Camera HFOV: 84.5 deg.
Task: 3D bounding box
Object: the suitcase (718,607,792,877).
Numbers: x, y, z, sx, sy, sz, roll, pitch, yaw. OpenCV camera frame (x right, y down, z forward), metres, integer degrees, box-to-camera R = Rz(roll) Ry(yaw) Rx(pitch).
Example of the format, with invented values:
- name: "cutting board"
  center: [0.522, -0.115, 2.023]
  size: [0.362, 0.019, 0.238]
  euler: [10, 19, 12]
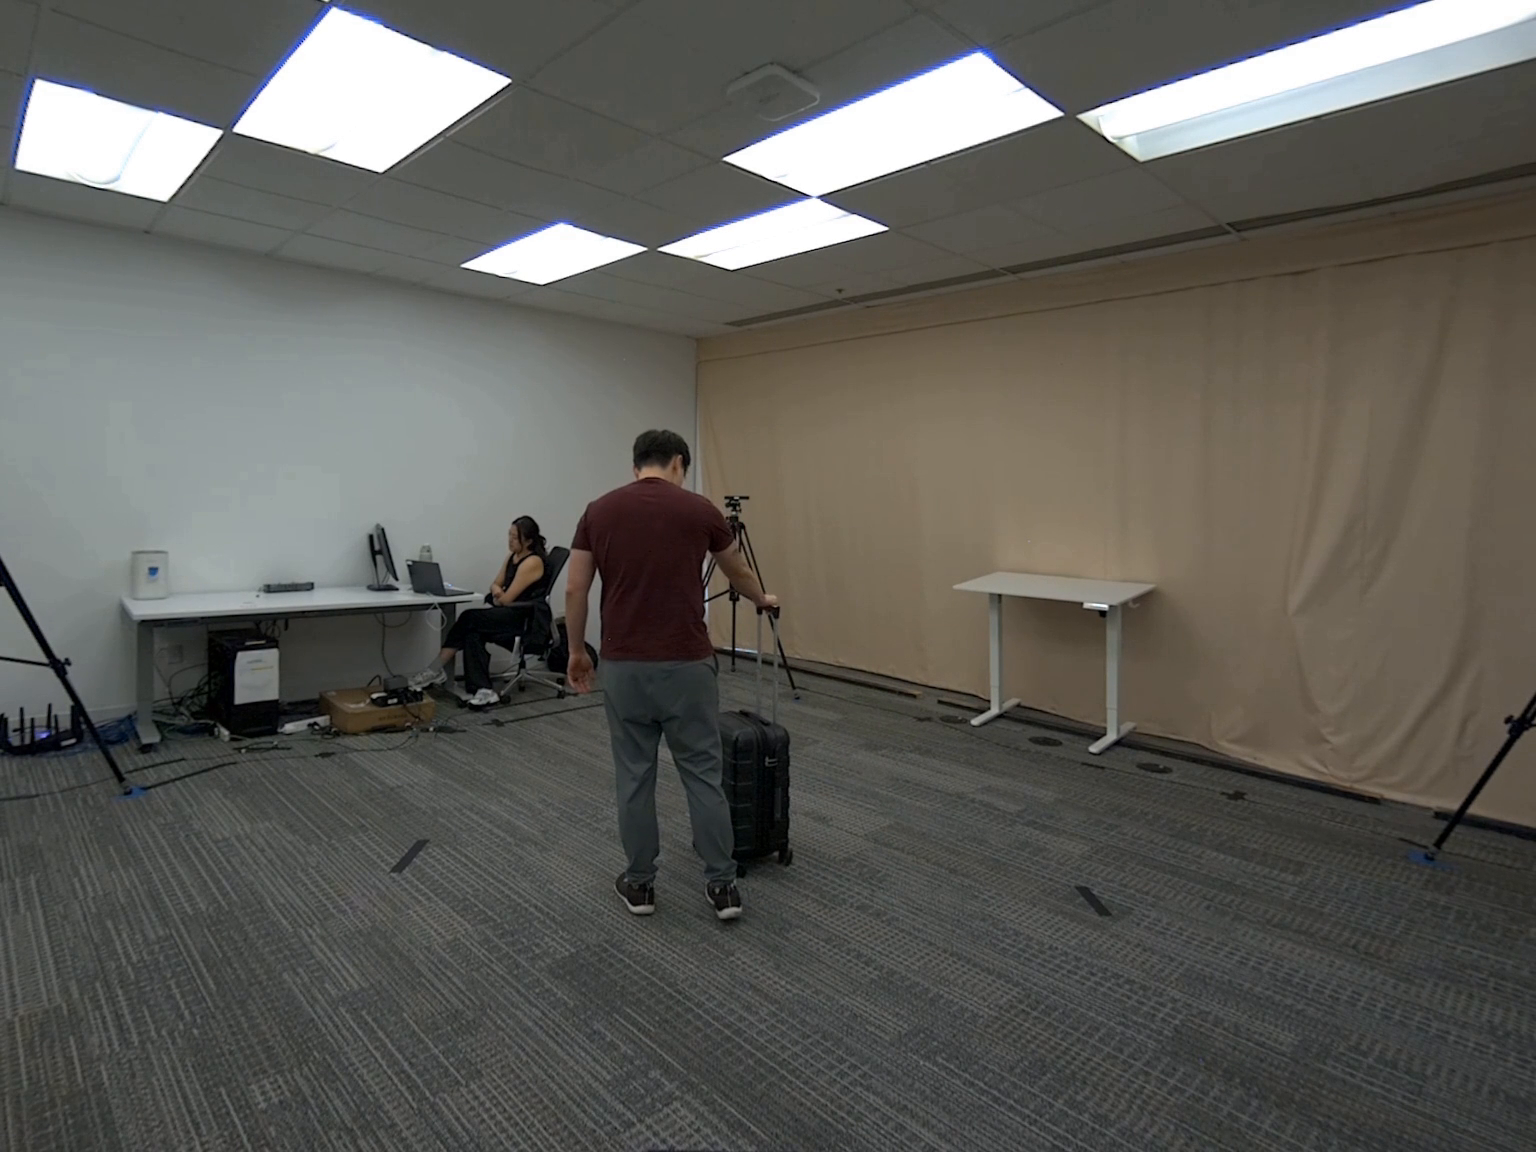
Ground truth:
- name: "suitcase"
  center: [-0.096, 0.613, 3.251]
  size: [0.253, 0.975, 0.391]
  euler: [-2, 5, -24]
